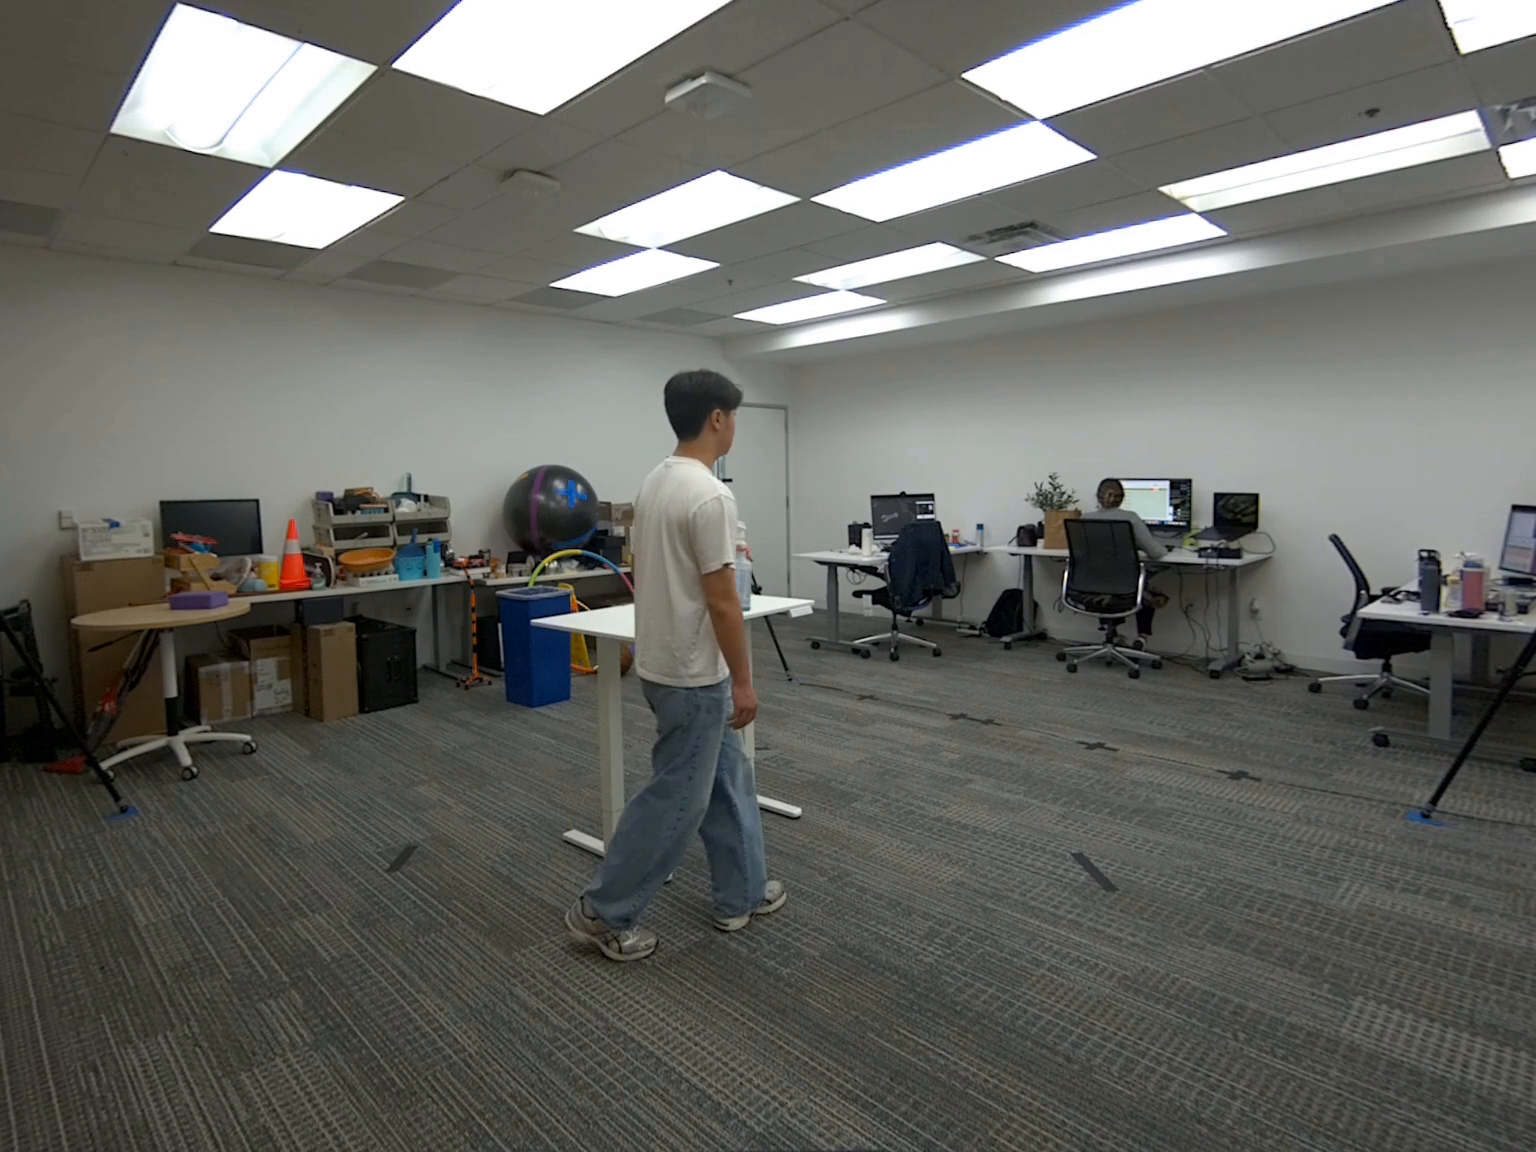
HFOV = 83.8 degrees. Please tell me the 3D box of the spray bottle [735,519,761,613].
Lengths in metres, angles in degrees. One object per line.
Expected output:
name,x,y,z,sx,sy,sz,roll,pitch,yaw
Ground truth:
spray bottle,-0.098,-0.034,2.813,0.087,0.297,0.089,-4,2,-41
